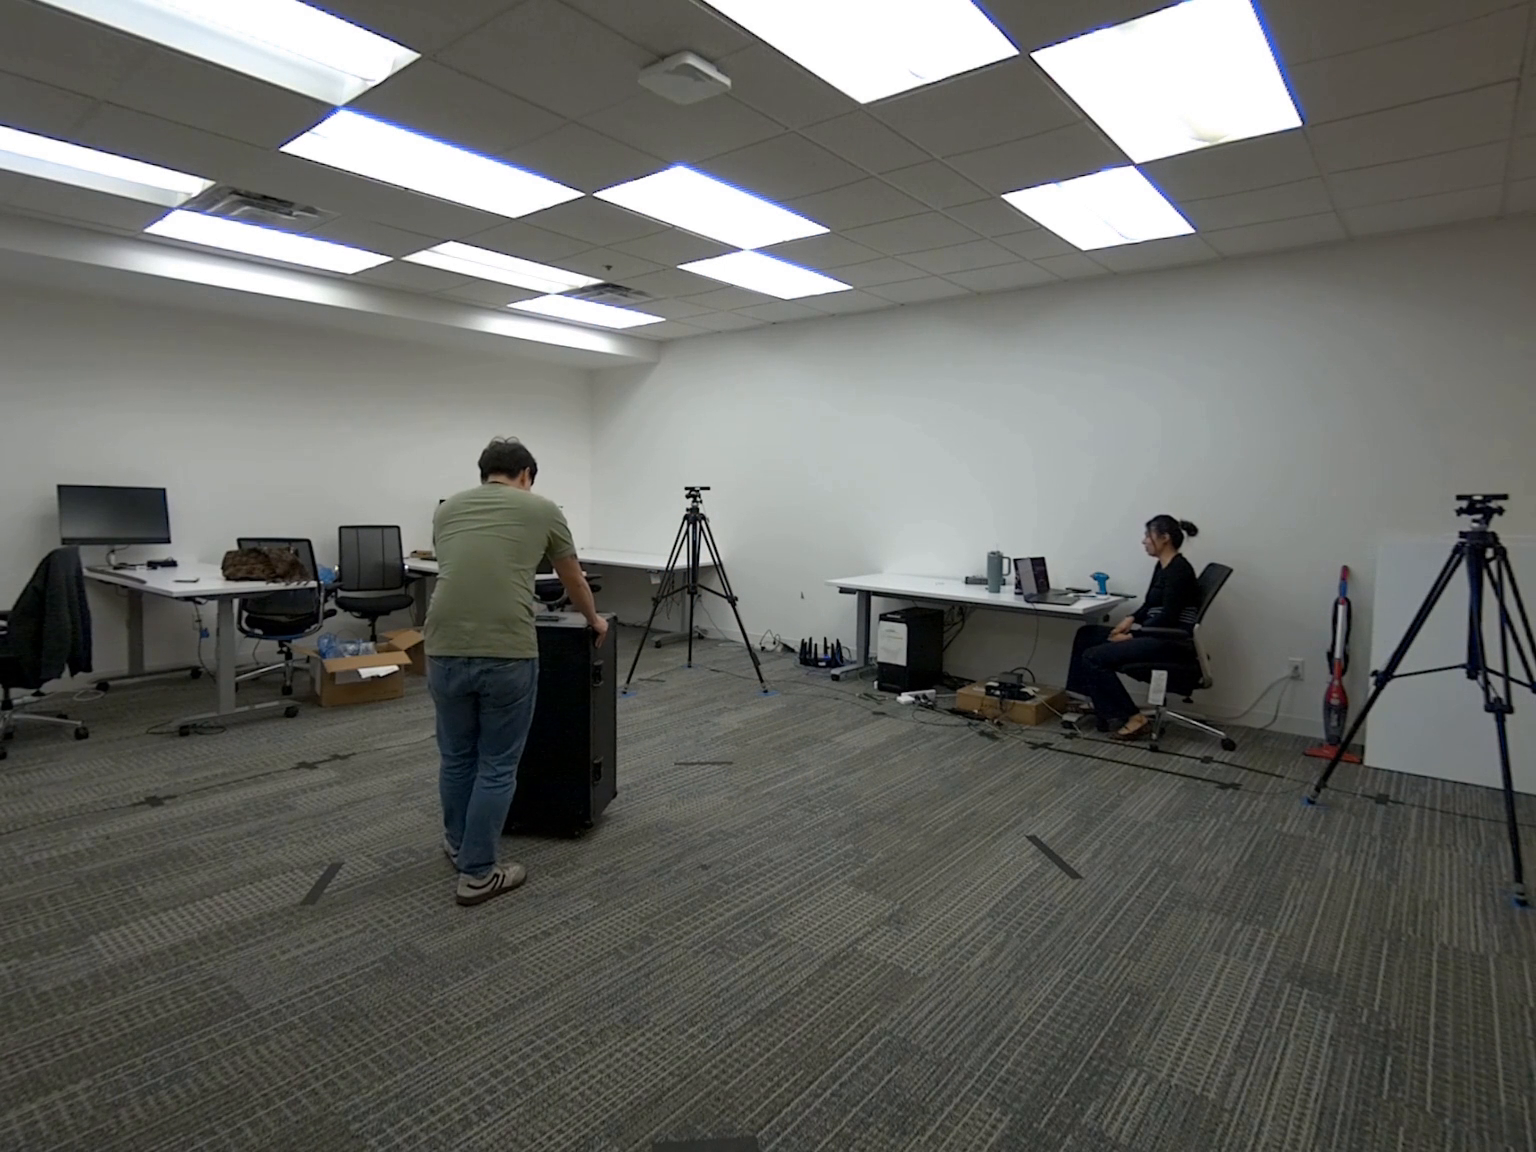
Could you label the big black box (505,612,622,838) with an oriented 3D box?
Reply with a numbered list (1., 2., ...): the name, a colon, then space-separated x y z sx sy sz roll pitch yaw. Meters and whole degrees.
1. big black box: -0.915 0.597 3.491 0.527 0.860 0.393 1 2 10
